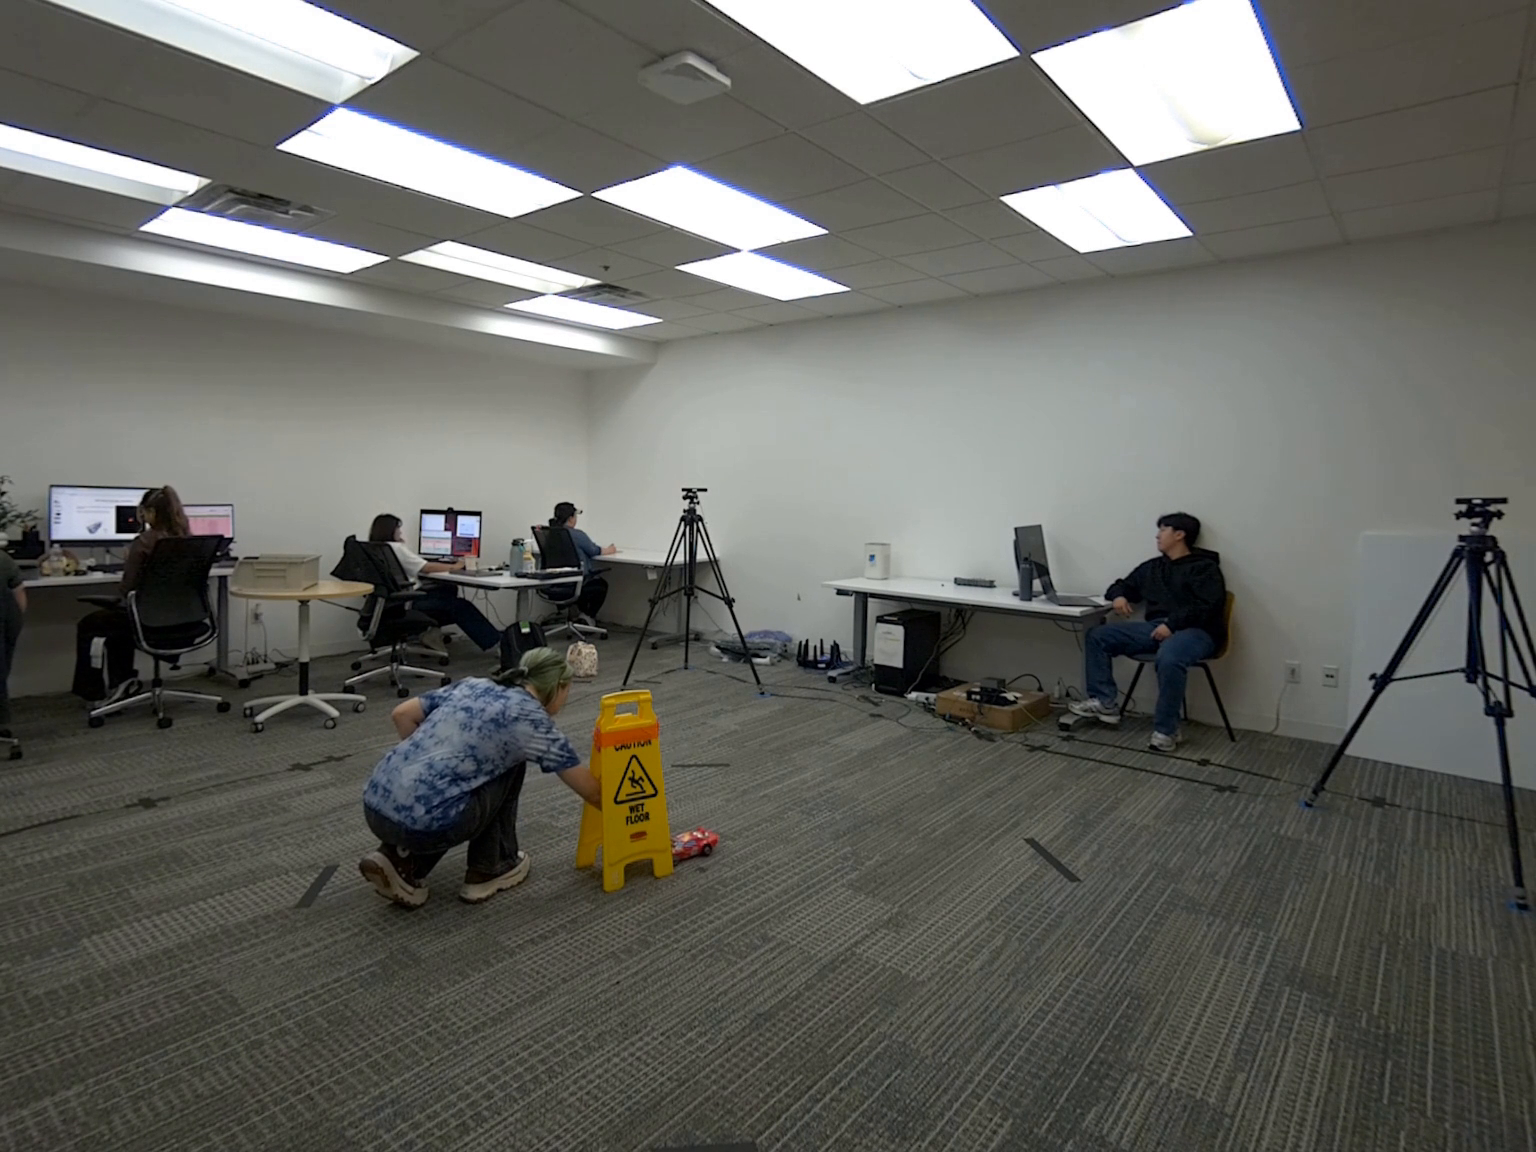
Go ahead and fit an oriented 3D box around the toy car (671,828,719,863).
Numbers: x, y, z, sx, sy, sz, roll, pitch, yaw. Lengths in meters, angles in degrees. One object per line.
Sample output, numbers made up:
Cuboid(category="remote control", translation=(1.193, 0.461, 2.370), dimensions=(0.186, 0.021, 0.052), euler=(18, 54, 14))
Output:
Cuboid(category="toy car", translation=(-0.314, 1.032, 3.231), dimensions=(0.250, 0.082, 0.134), euler=(-19, 15, -31))
